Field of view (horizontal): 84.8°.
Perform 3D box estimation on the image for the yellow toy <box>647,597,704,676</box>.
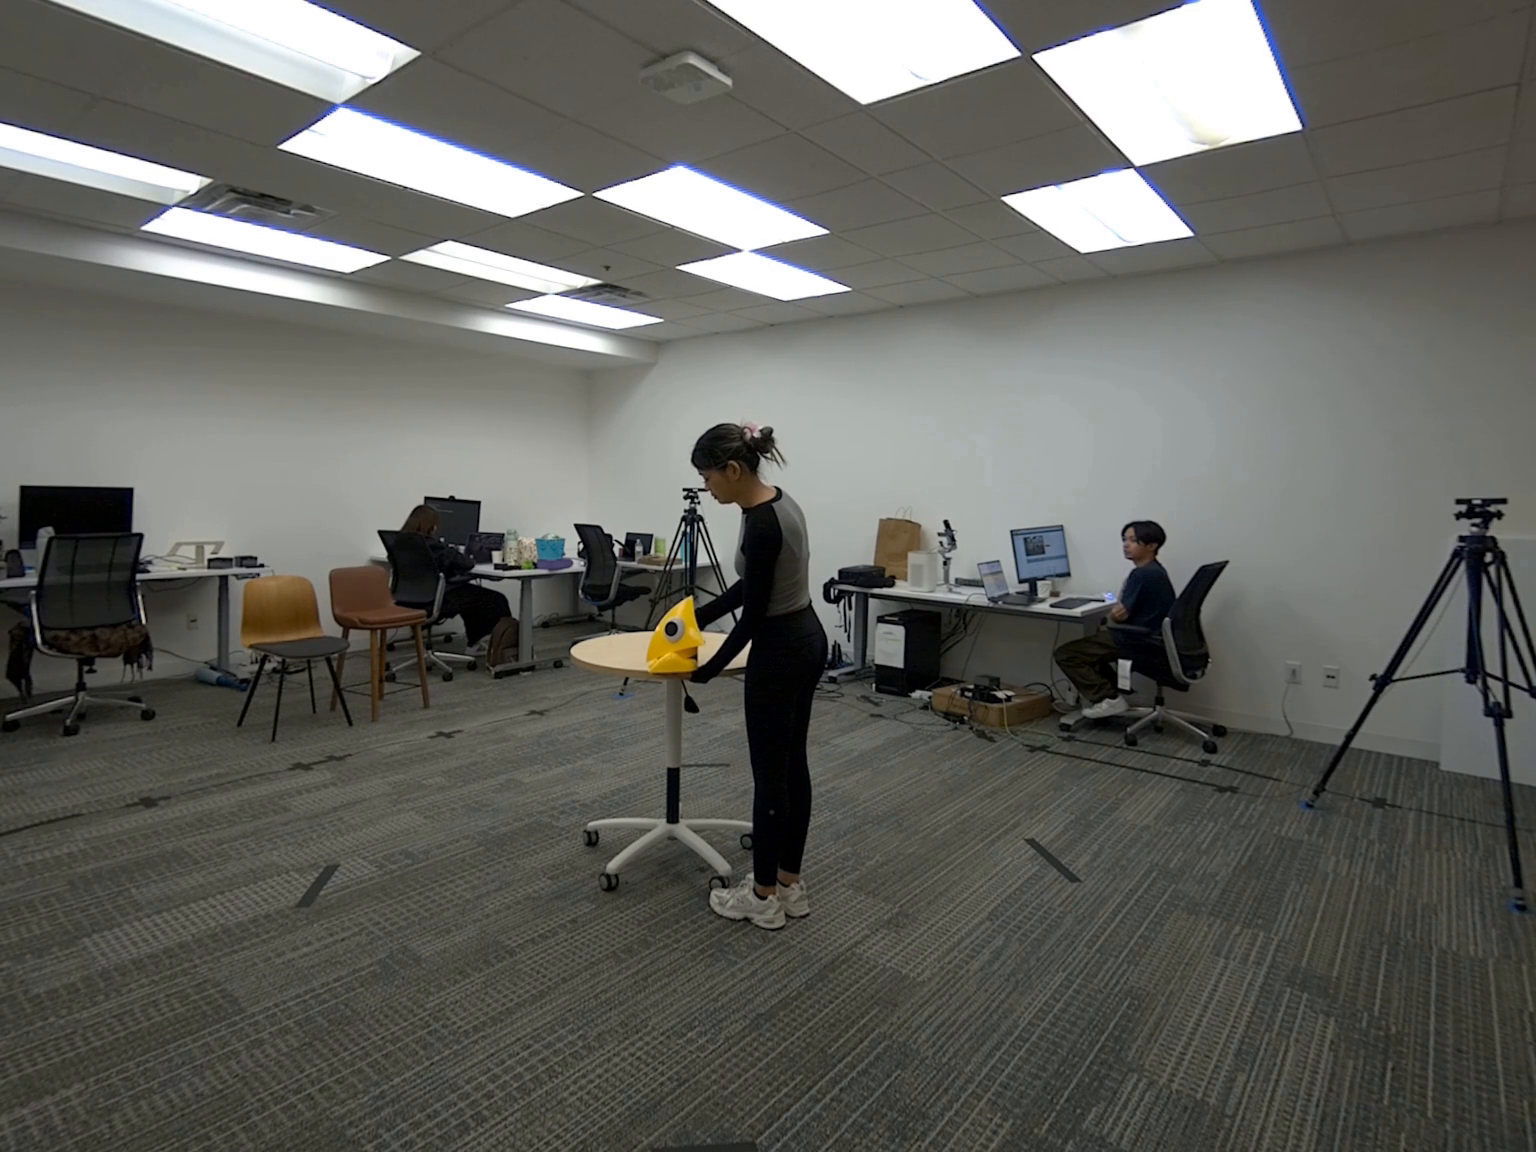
[{"bbox_3d":[-0.309,0.177,2.737,0.192,0.231,0.206,-2,0,-7],"label":"yellow toy"}]
